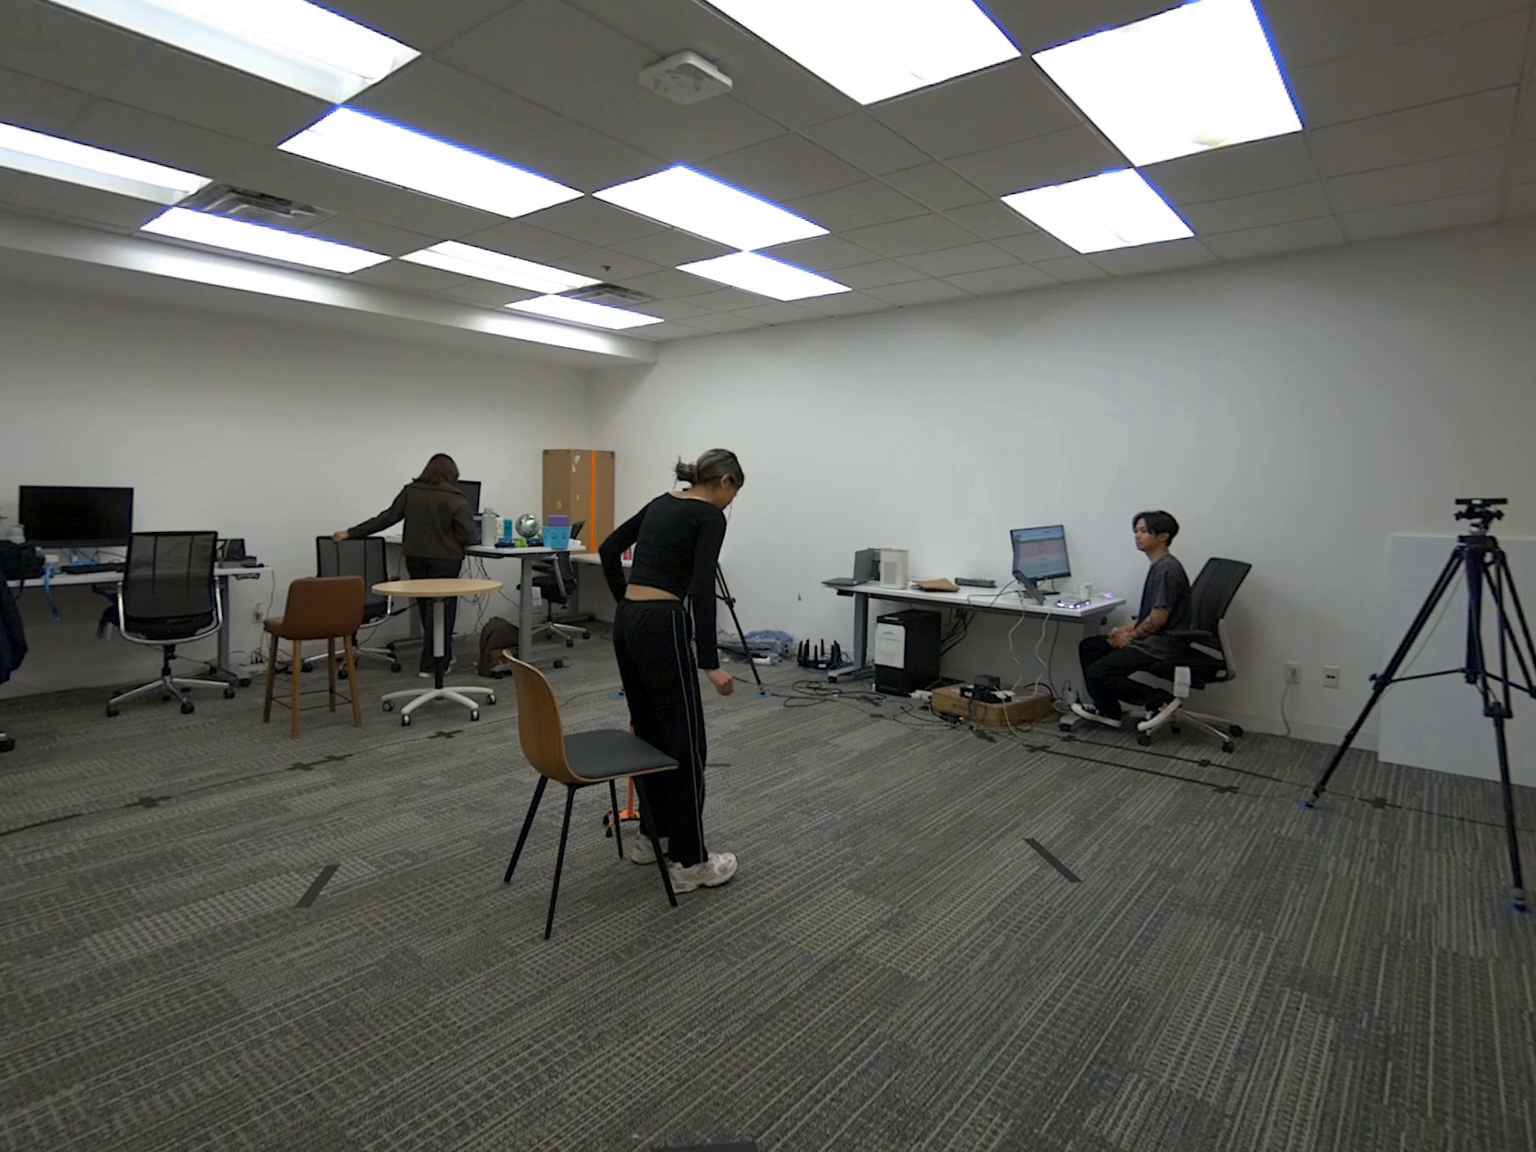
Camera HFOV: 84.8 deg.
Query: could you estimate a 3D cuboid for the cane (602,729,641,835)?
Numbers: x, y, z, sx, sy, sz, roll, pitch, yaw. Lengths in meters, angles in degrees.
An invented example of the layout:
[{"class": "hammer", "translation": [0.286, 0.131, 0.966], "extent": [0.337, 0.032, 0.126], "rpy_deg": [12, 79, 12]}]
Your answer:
[{"class": "cane", "translation": [-0.562, 0.576, 3.427], "extent": [0.203, 0.903, 0.155], "rpy_deg": [1, 5, -15]}]
